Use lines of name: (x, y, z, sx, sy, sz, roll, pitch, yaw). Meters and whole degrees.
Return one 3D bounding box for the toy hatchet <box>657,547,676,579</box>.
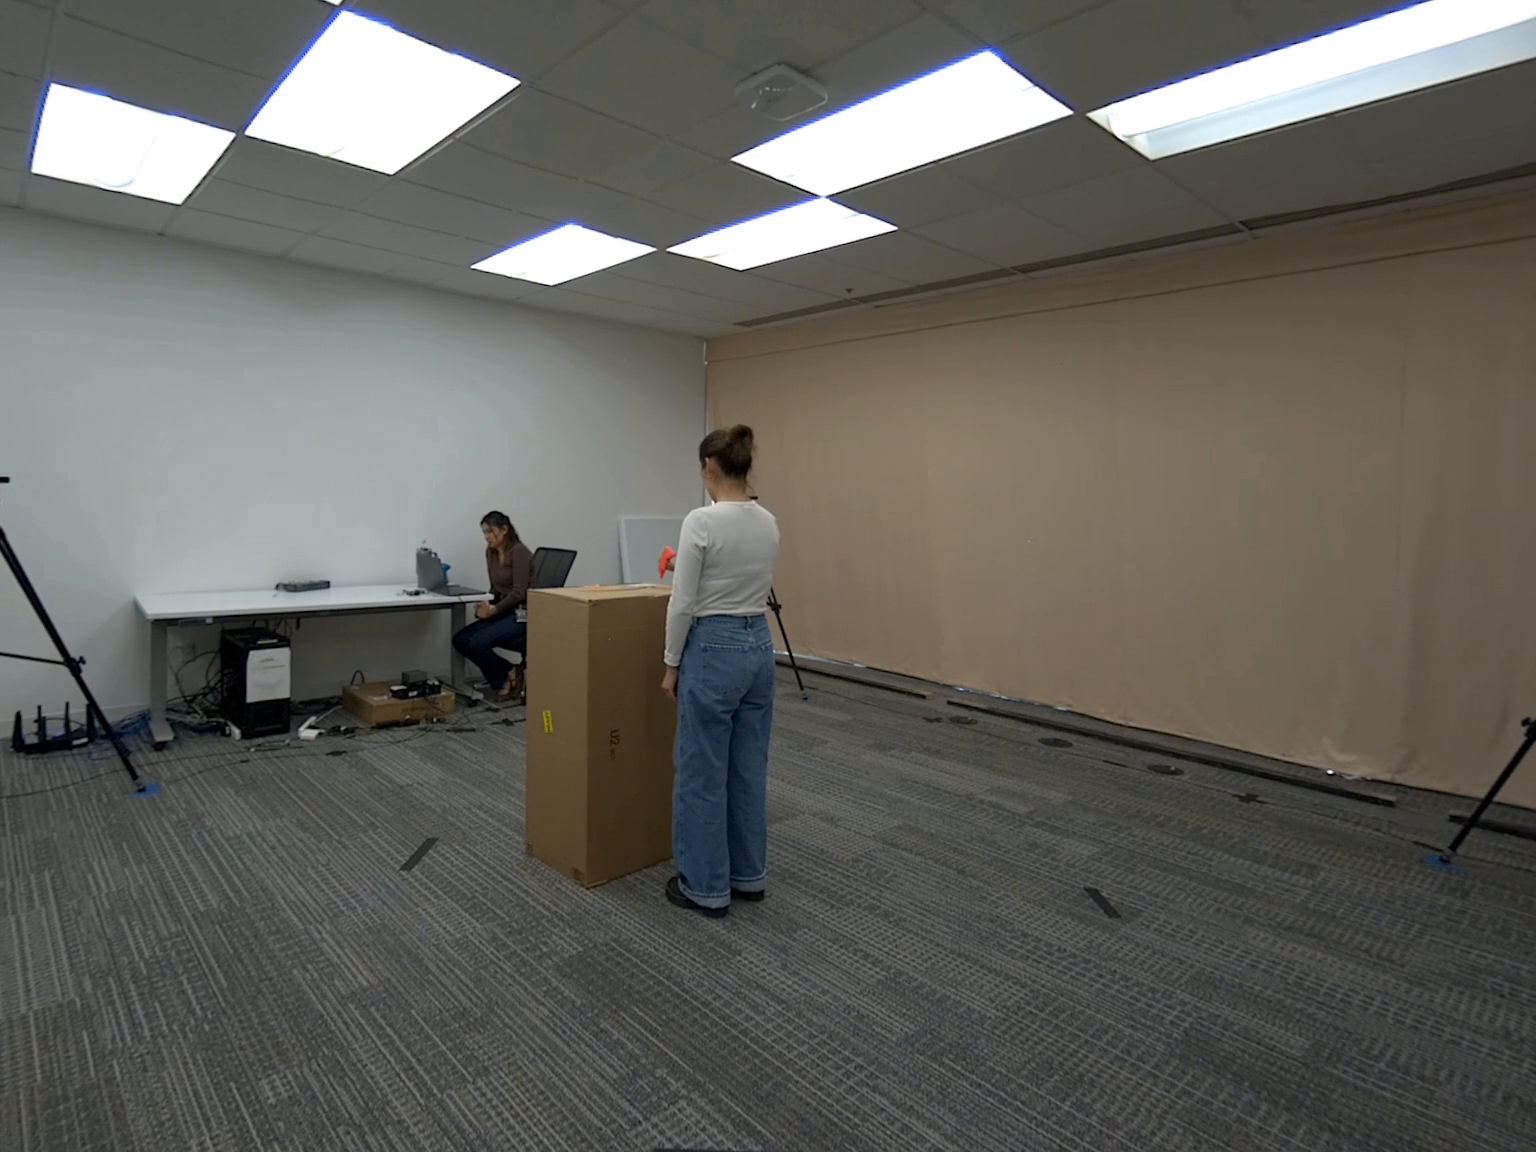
toy hatchet: (-0.349, -0.046, 3.312, 0.276, 0.131, 0.029, 0, -2, 44)
